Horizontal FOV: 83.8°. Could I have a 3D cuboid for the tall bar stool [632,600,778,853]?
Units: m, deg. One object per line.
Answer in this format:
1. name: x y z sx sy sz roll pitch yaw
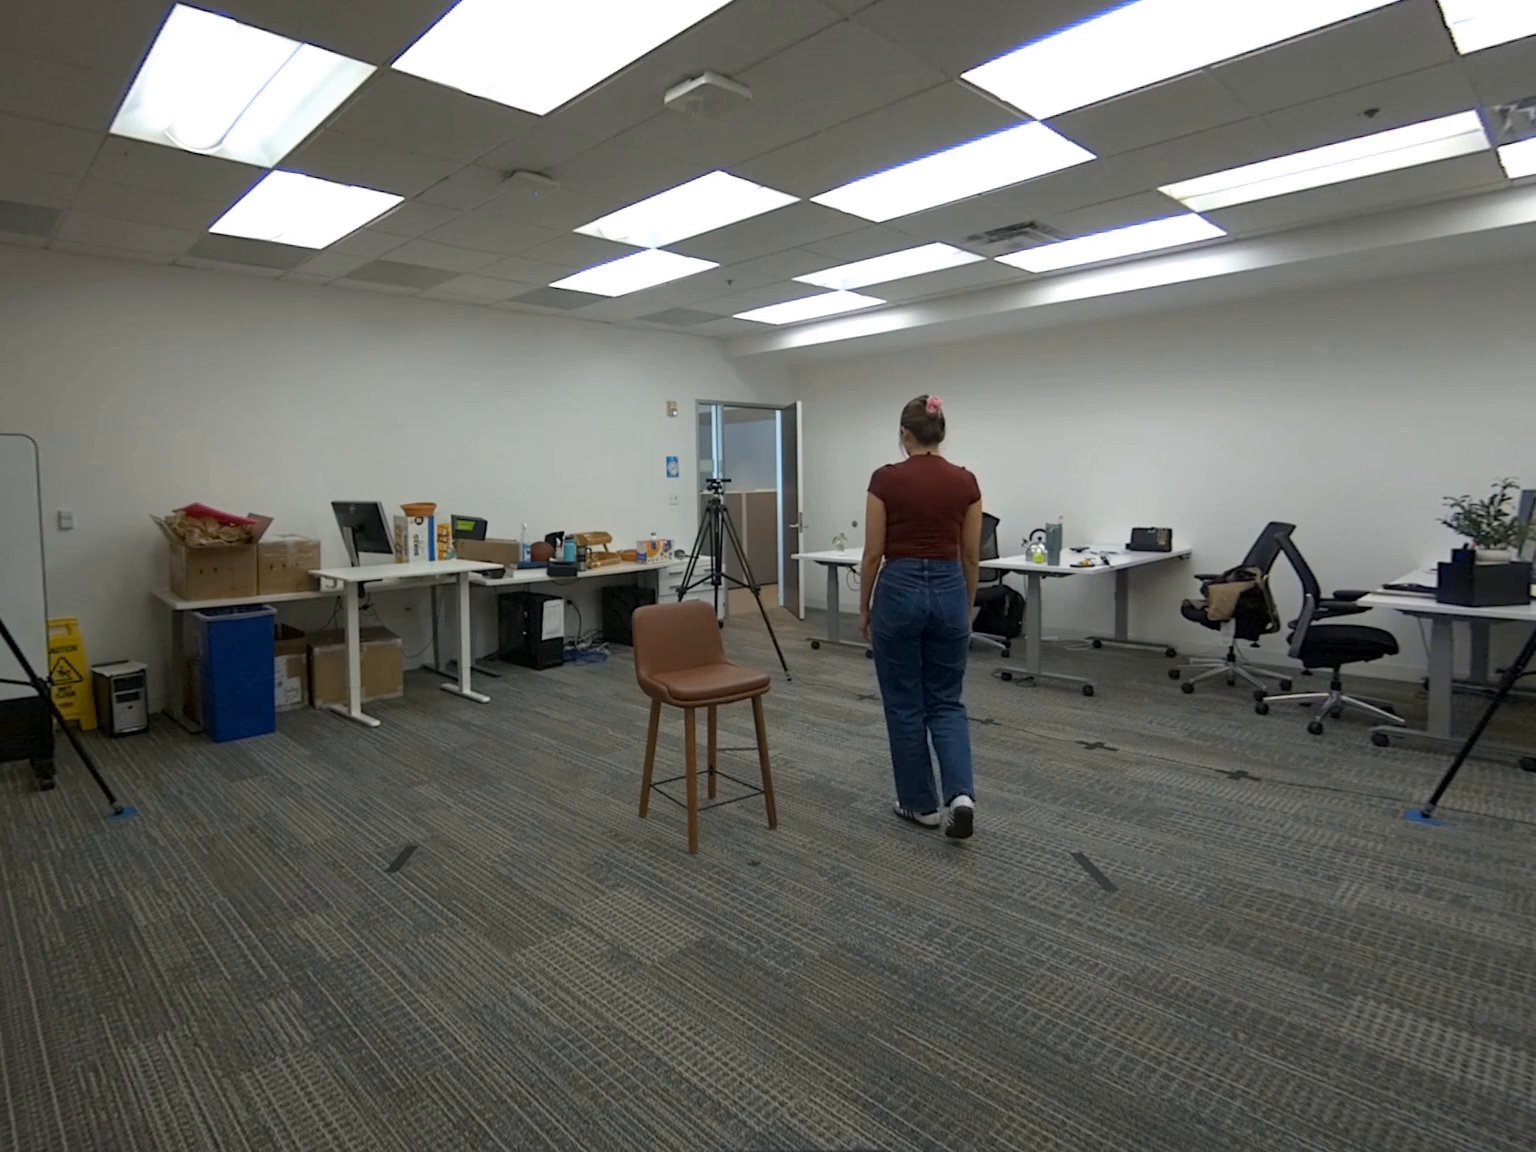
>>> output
1. tall bar stool: -0.272 0.575 3.465 0.444 0.888 0.481 -3 2 -37
